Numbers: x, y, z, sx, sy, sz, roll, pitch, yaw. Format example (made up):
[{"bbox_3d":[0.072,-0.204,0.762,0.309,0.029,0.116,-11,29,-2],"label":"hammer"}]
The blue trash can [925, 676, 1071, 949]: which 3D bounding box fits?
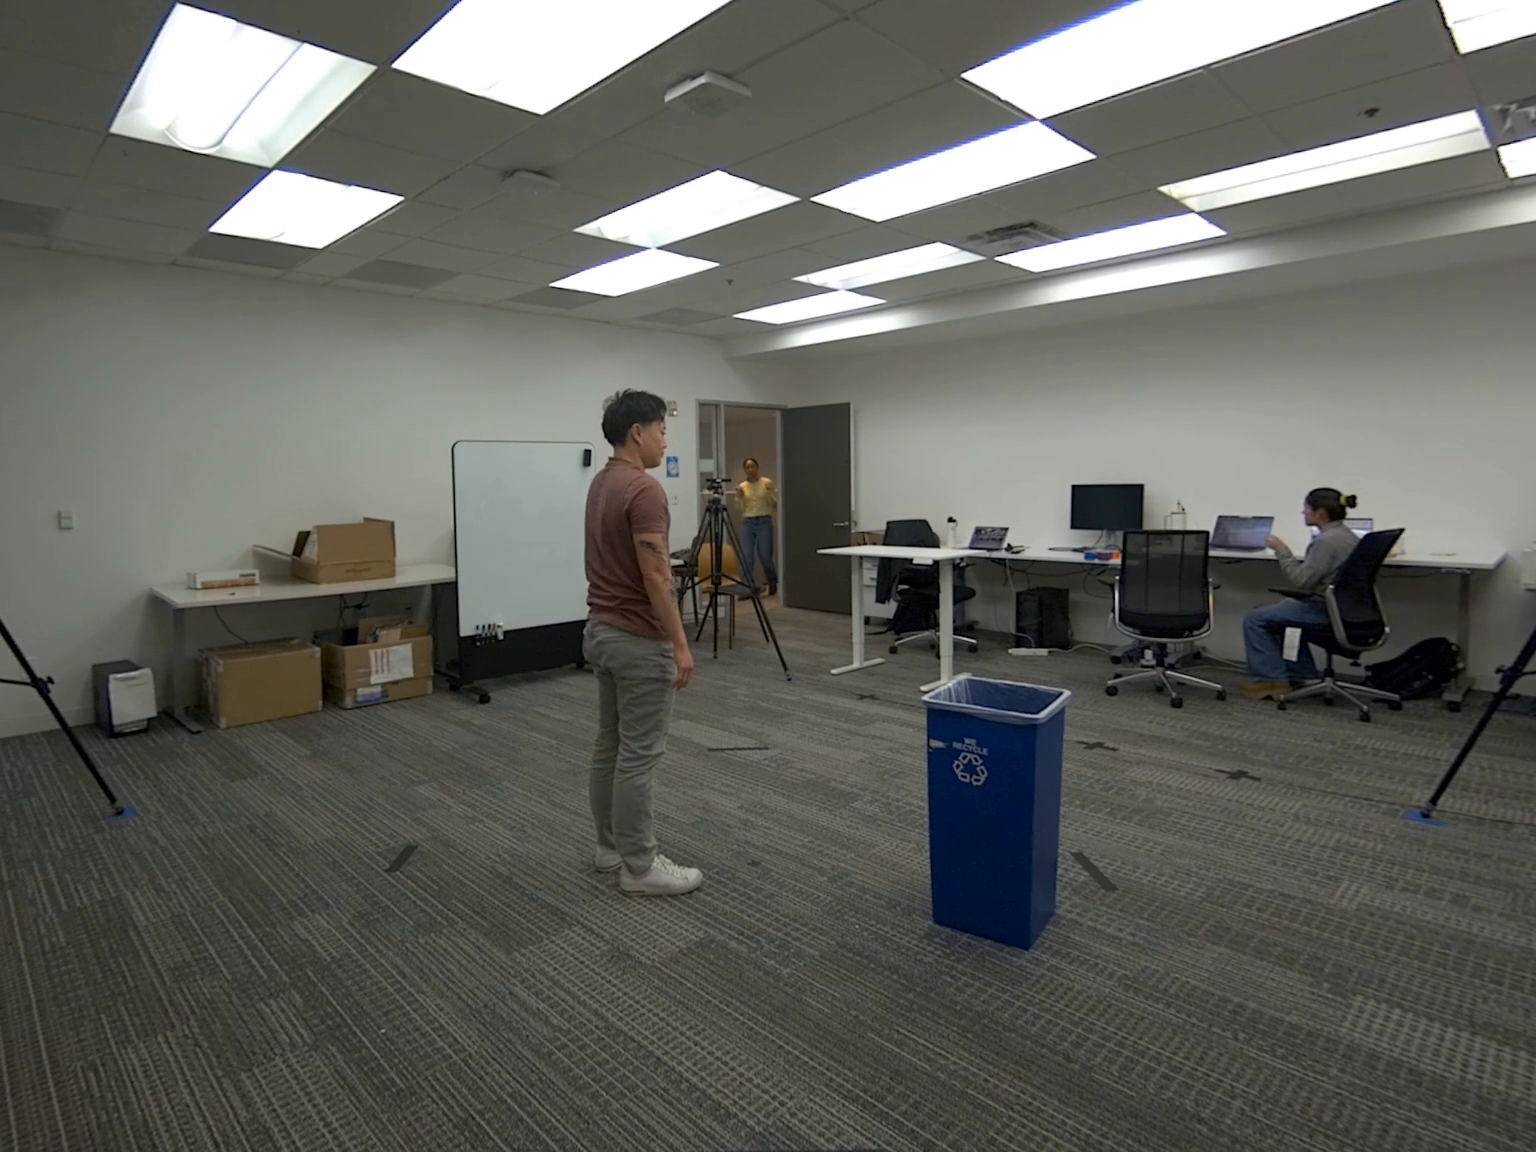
[{"bbox_3d":[0.727,0.723,2.678,0.385,0.711,0.369,2,5,34],"label":"blue trash can"}]
